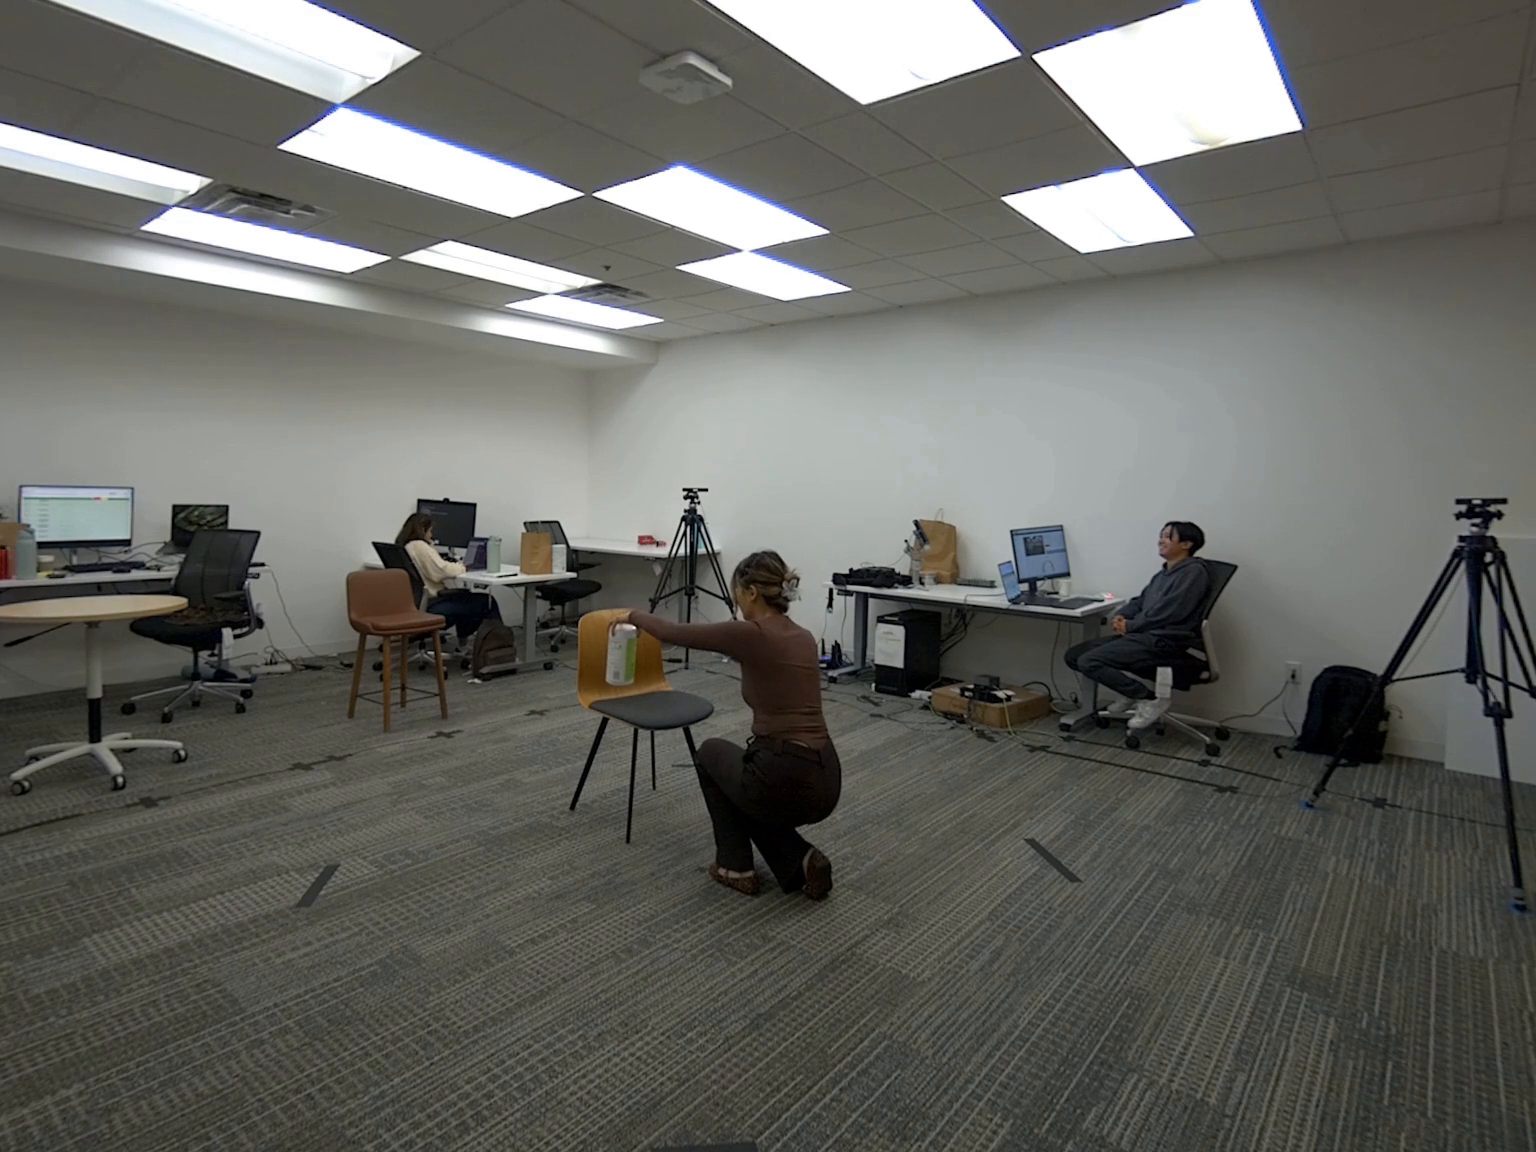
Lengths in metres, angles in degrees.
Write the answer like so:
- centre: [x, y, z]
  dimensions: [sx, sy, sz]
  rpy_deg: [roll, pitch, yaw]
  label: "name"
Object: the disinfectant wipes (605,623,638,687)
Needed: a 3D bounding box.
- centre: [-0.569, 0.299, 3.248]
  dimensions: [0.117, 0.216, 0.119]
  rpy_deg: [6, 9, -3]
  label: "disinfectant wipes"
